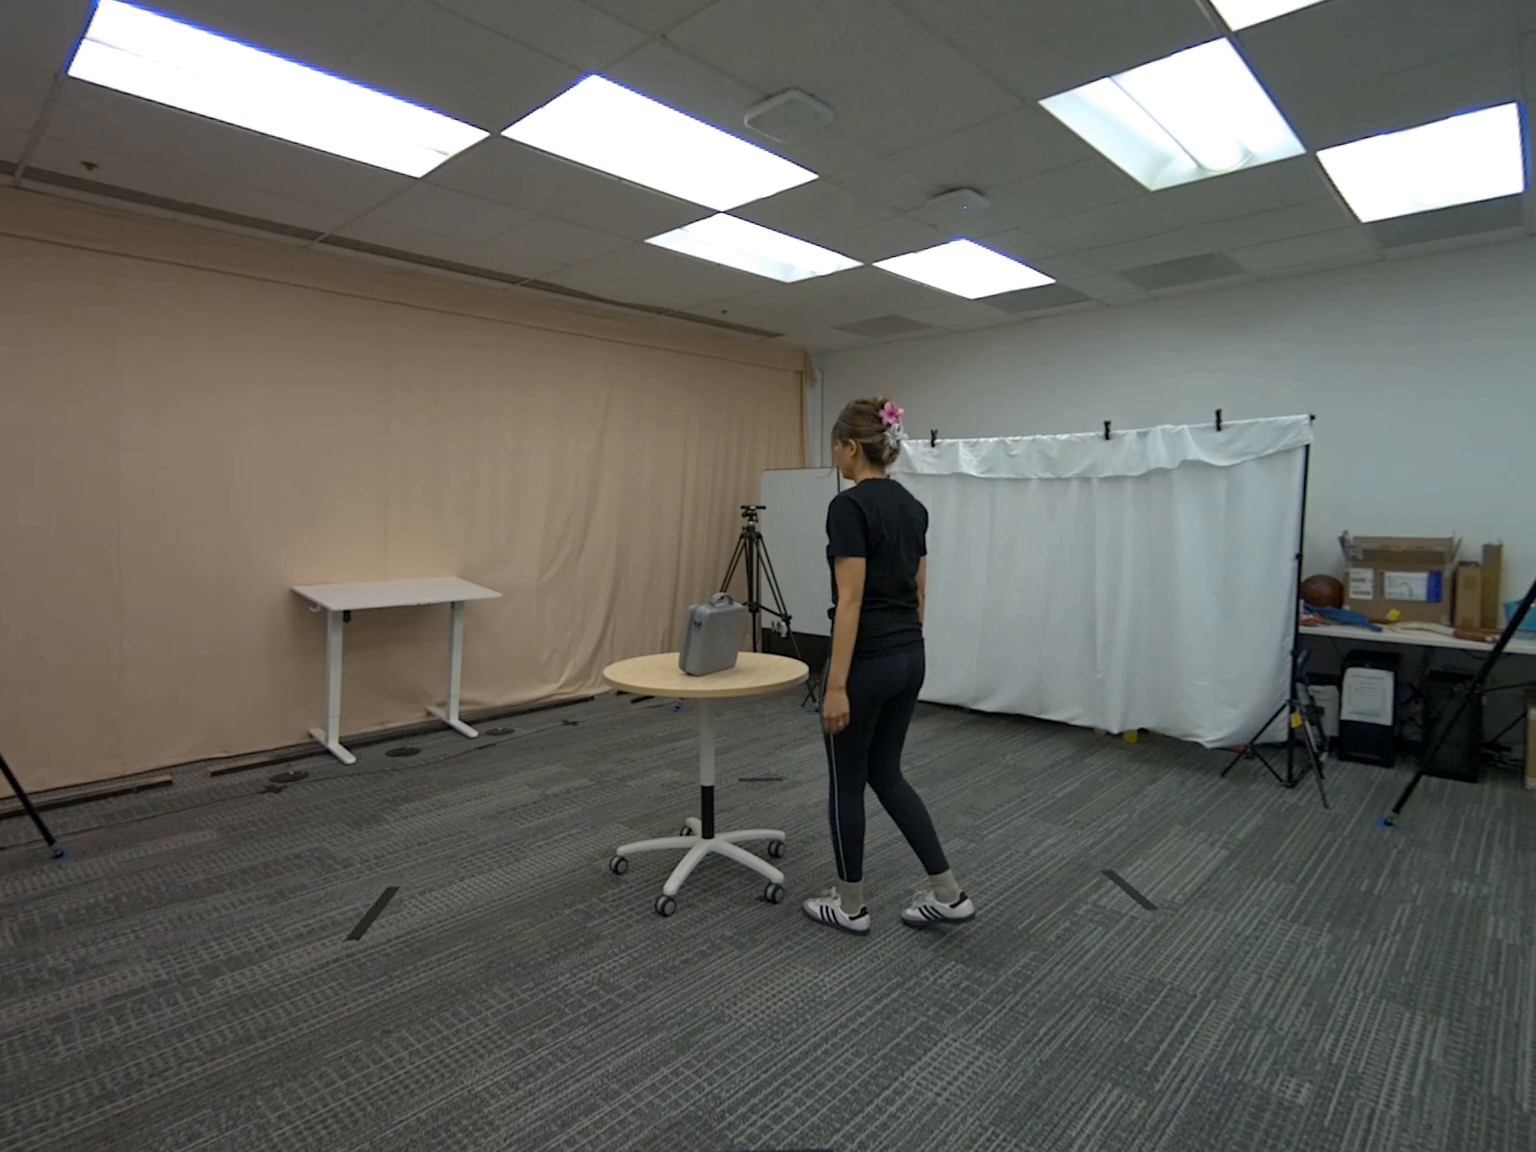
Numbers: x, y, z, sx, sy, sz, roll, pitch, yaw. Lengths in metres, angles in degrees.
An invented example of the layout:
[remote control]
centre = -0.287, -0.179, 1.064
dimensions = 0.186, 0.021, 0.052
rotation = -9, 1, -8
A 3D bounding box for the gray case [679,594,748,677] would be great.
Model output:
[gray case]
centre = -0.200, 0.220, 3.087
dimensions = 0.108, 0.259, 0.250
rotation = 16, 13, 31
